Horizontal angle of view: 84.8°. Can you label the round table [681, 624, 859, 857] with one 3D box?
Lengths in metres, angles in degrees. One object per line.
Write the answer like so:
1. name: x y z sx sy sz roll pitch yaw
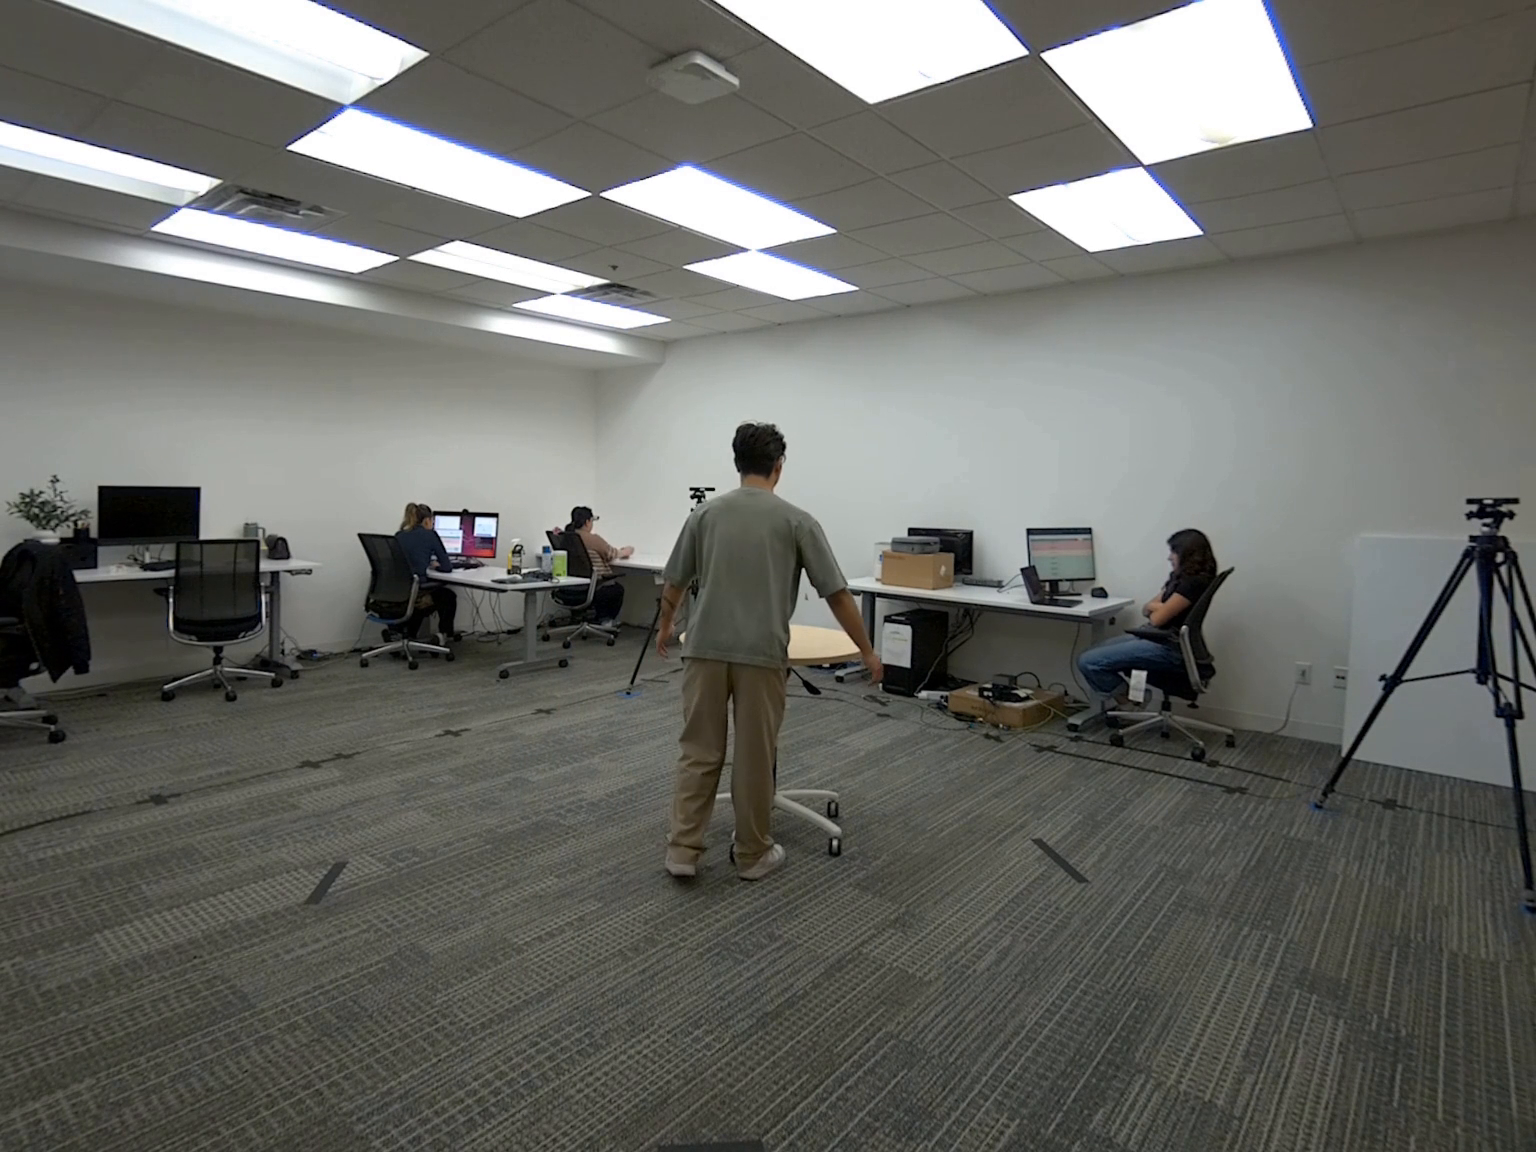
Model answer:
1. round table: -0.010 0.640 3.488 0.784 0.784 0.789 1 4 -2
